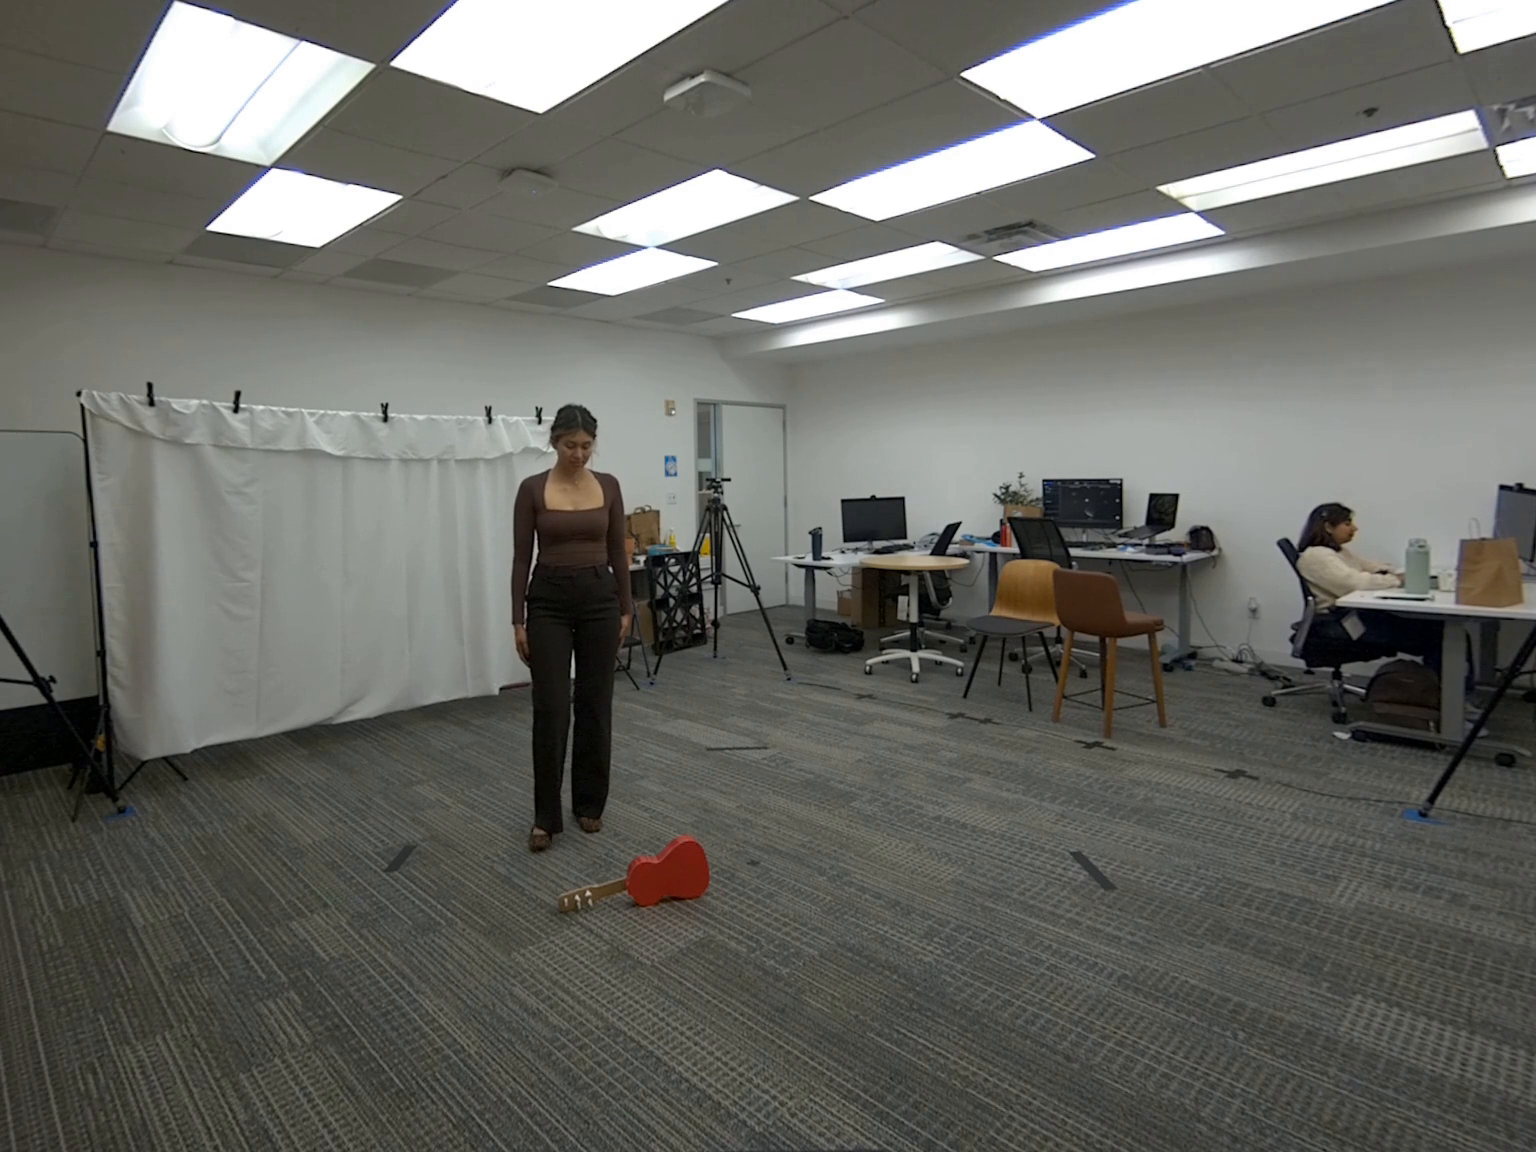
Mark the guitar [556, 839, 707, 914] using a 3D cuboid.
[{"bbox_3d":[-0.429,1.041,2.822,0.493,0.191,0.072,-22,7,-15],"label":"guitar"}]
